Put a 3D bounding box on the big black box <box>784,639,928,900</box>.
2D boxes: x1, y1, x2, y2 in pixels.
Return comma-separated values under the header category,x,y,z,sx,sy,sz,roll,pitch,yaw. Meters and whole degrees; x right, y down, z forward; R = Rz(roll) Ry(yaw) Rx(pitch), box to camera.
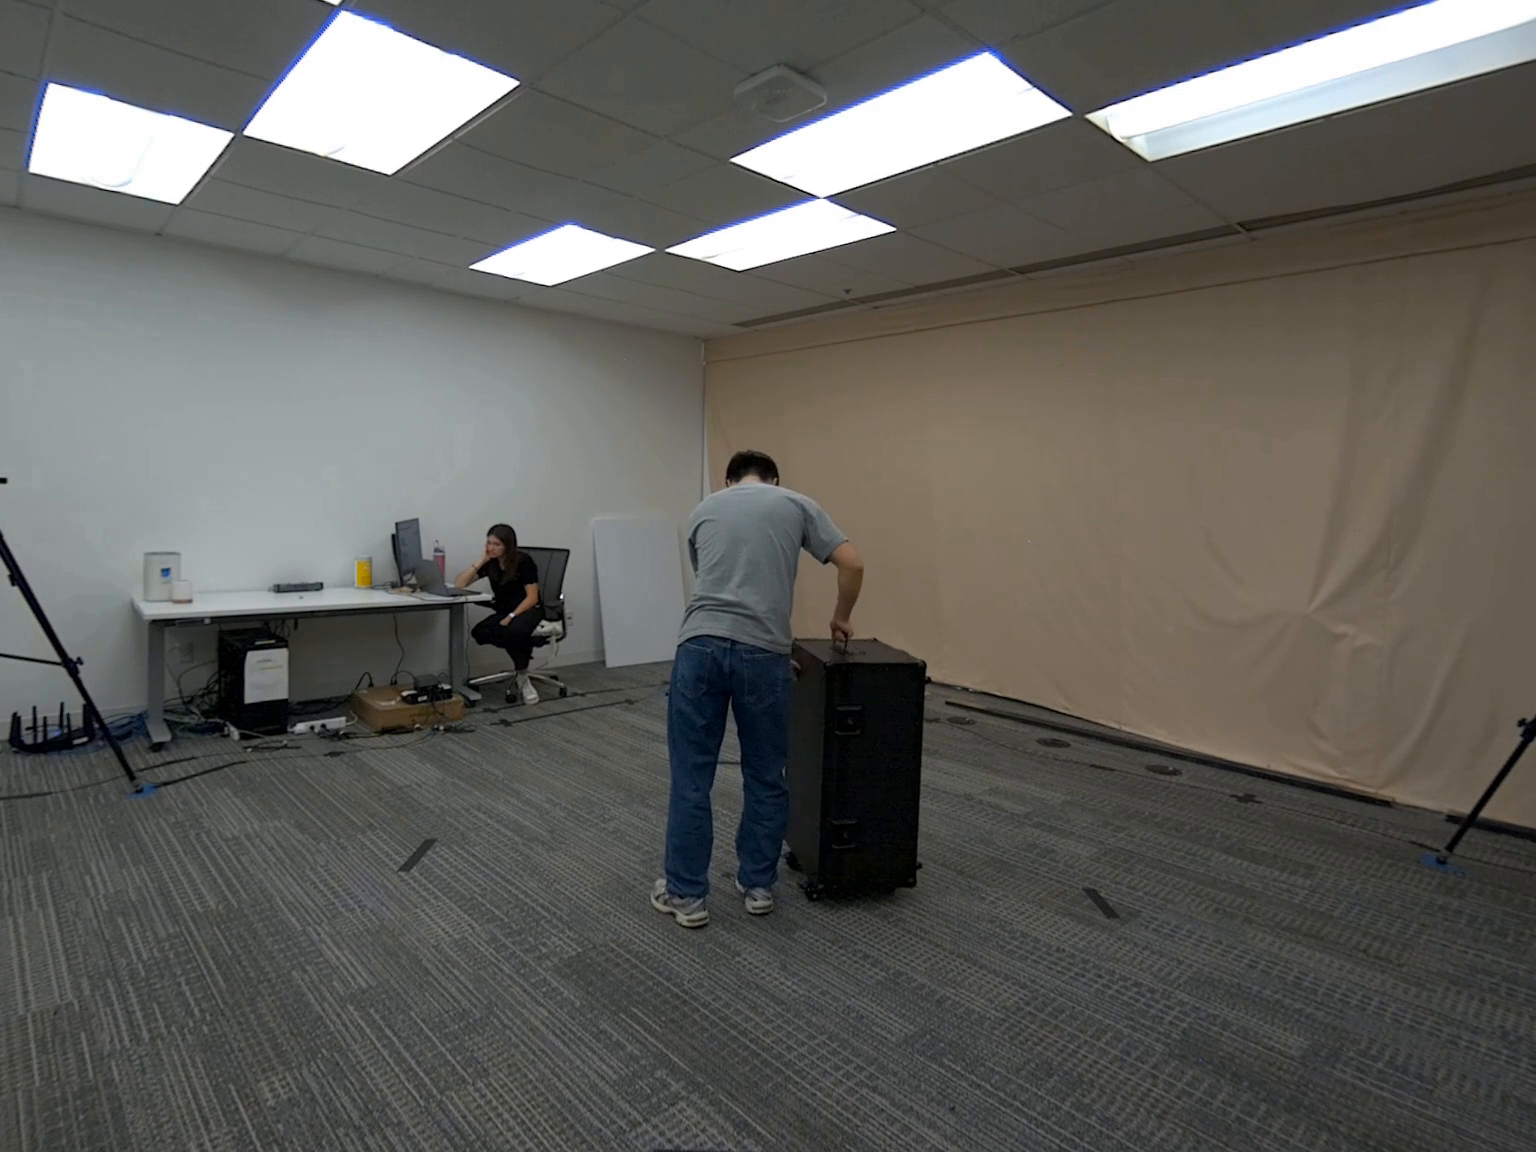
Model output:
category,x,y,z,sx,sy,sz,roll,pitch,yaw
big black box,0.302,0.631,3.072,0.392,0.859,0.528,1,3,-14
